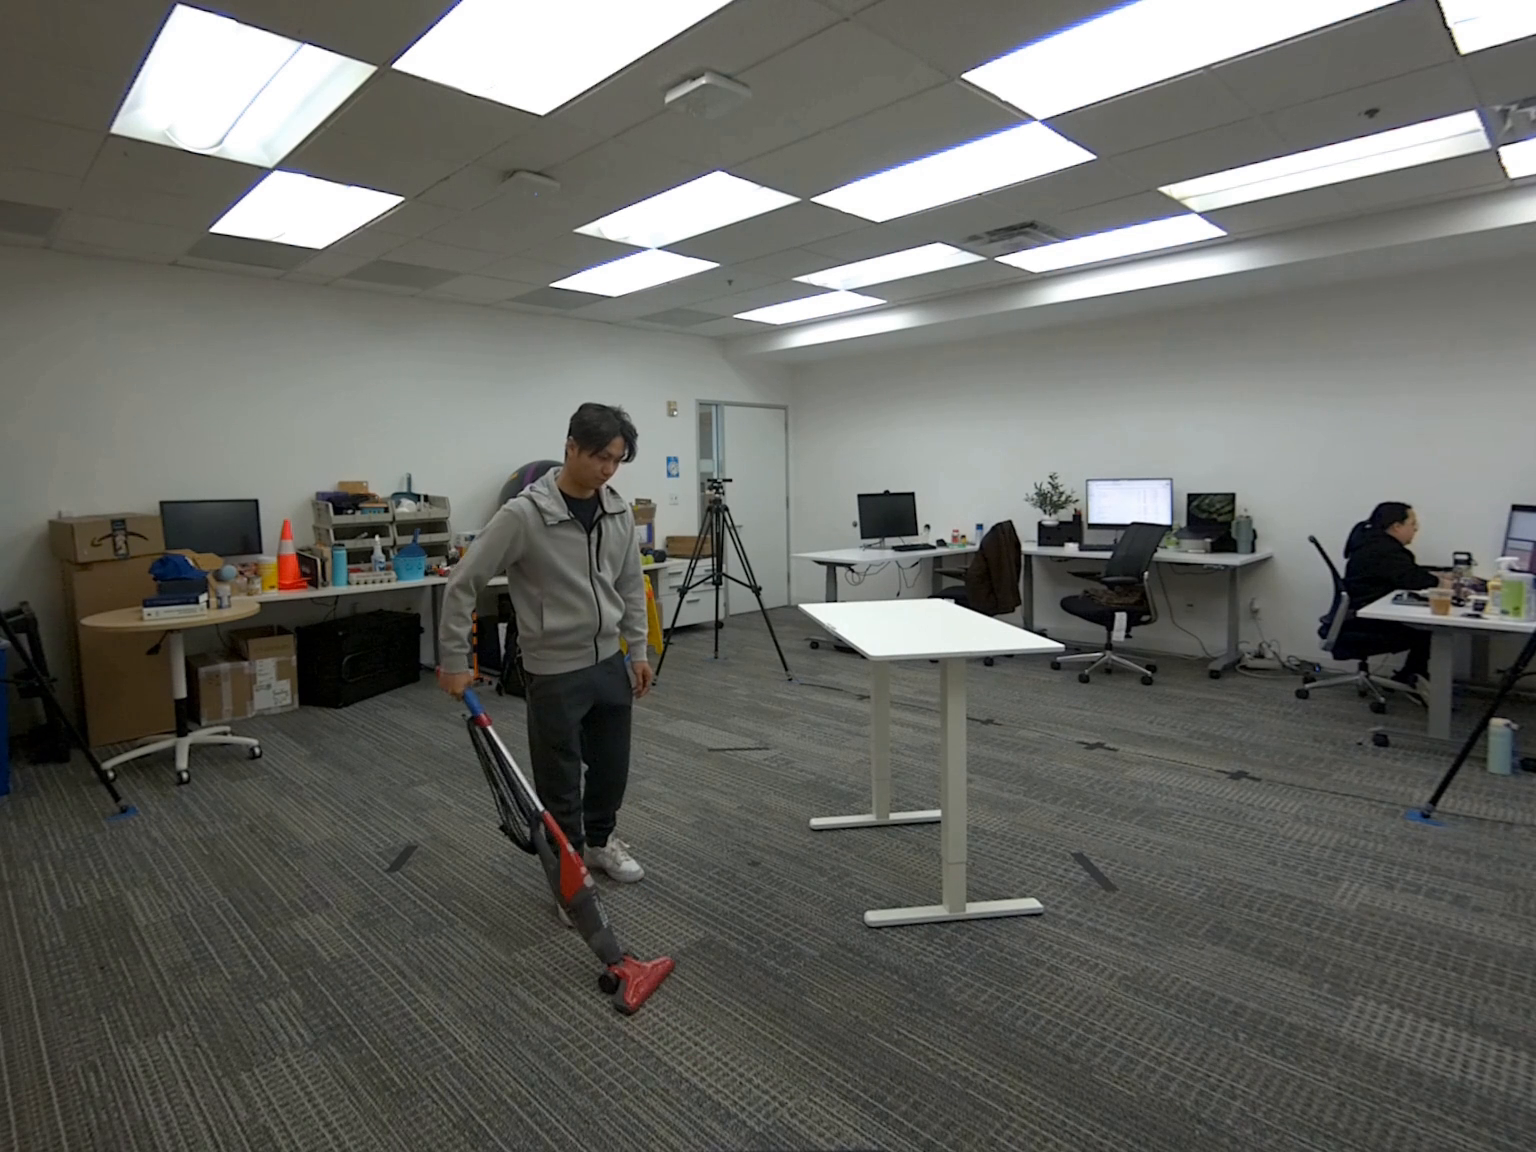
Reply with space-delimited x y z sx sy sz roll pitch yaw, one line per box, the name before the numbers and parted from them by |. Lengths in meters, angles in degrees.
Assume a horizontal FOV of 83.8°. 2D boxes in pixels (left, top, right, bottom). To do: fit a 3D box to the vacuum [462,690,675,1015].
vacuum | -0.665 0.725 2.472 0.144 1.066 0.248 -42 -12 21
